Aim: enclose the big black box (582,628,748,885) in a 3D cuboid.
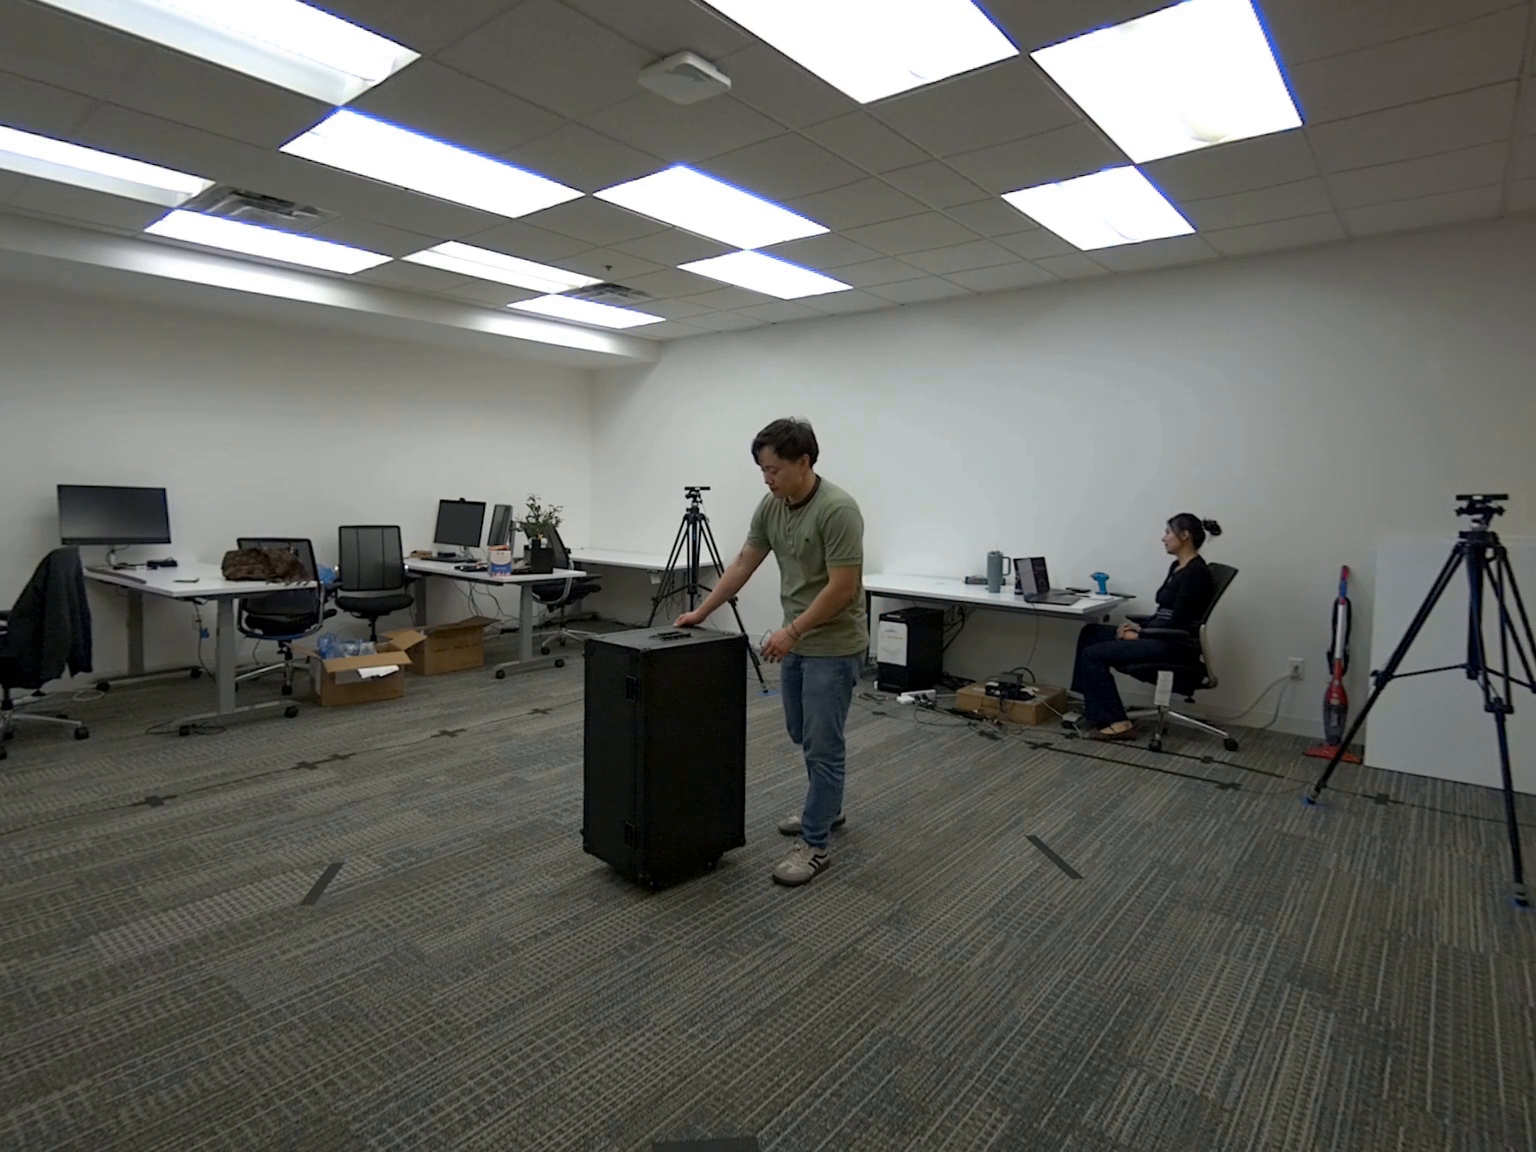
[{"bbox_3d":[-0.395,0.641,3.099,0.409,0.860,0.505,2,3,45],"label":"big black box"}]
